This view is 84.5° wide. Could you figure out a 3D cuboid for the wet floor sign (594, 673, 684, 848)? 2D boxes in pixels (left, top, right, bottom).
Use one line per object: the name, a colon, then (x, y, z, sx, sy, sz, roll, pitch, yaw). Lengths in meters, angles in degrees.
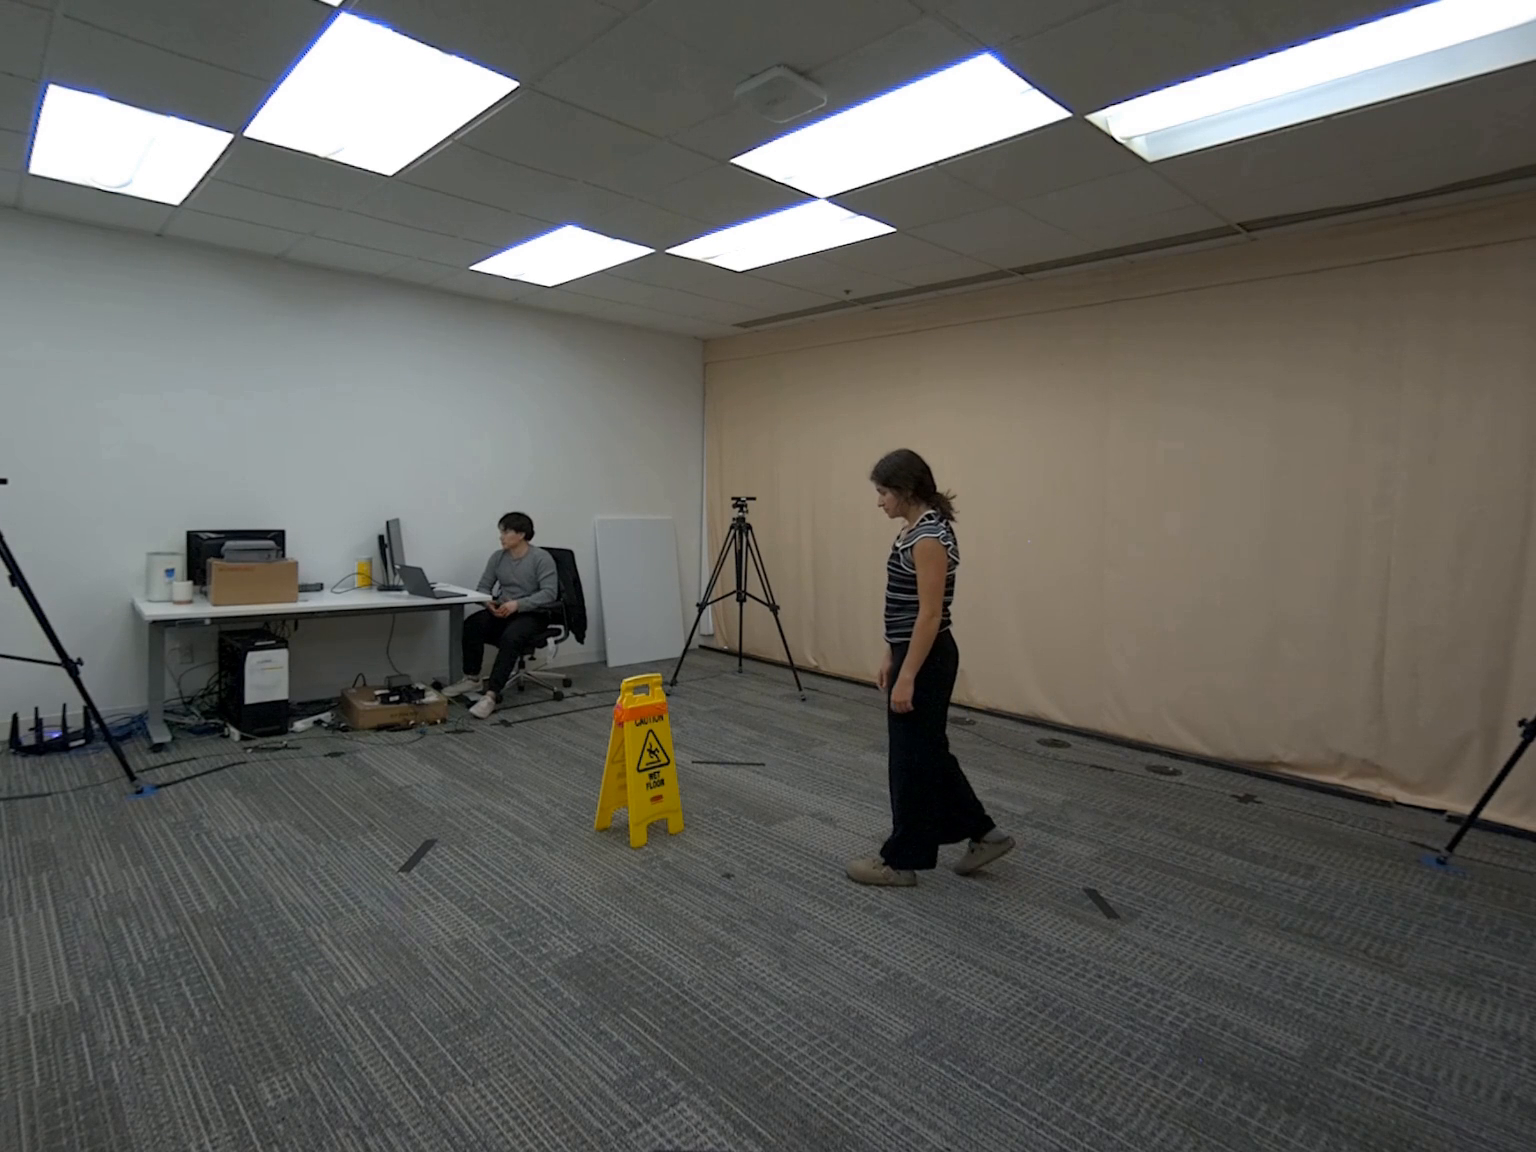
wet floor sign: (-0.535, 0.734, 3.494, 0.297, 0.645, 0.276, 3, 3, 44)
